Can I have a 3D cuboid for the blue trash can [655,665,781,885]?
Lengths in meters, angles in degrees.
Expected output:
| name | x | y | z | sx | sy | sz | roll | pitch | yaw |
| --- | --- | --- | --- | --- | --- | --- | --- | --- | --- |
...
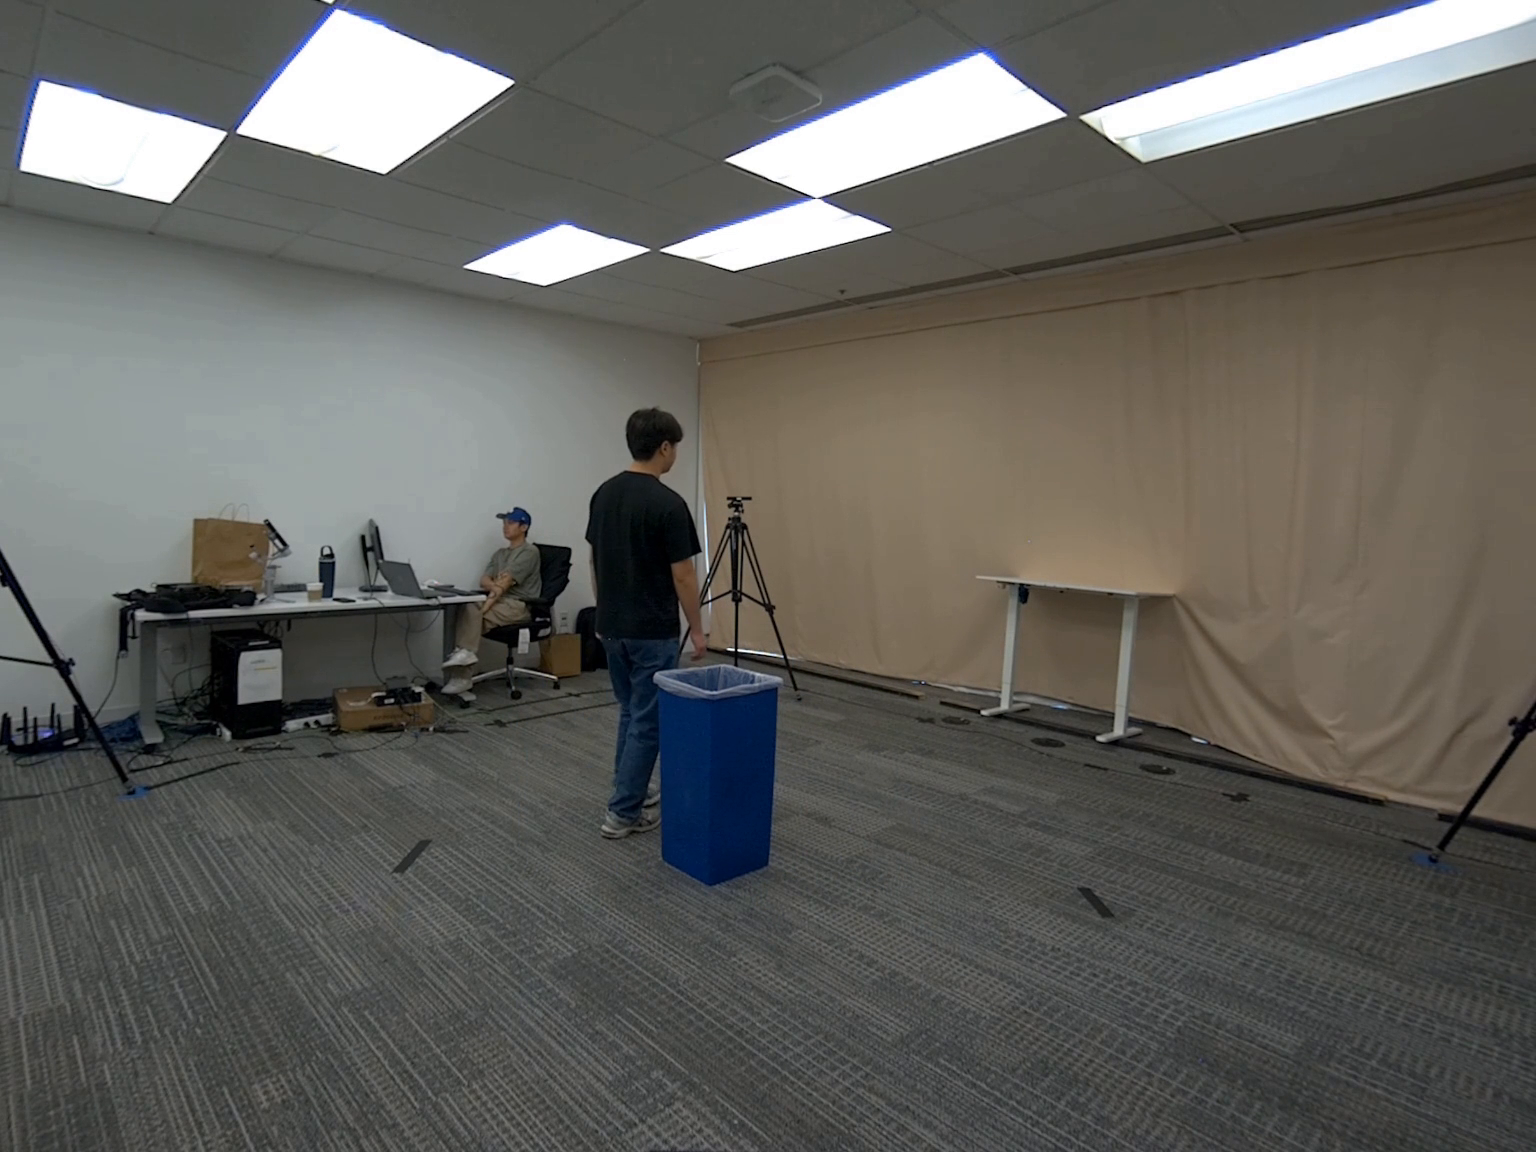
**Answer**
| name | x | y | z | sx | sy | sz | roll | pitch | yaw |
| --- | --- | --- | --- | --- | --- | --- | --- | --- | --- |
| blue trash can | -0.199 | 0.739 | 3.192 | 0.365 | 0.712 | 0.387 | -1 | 4 | -42 |
